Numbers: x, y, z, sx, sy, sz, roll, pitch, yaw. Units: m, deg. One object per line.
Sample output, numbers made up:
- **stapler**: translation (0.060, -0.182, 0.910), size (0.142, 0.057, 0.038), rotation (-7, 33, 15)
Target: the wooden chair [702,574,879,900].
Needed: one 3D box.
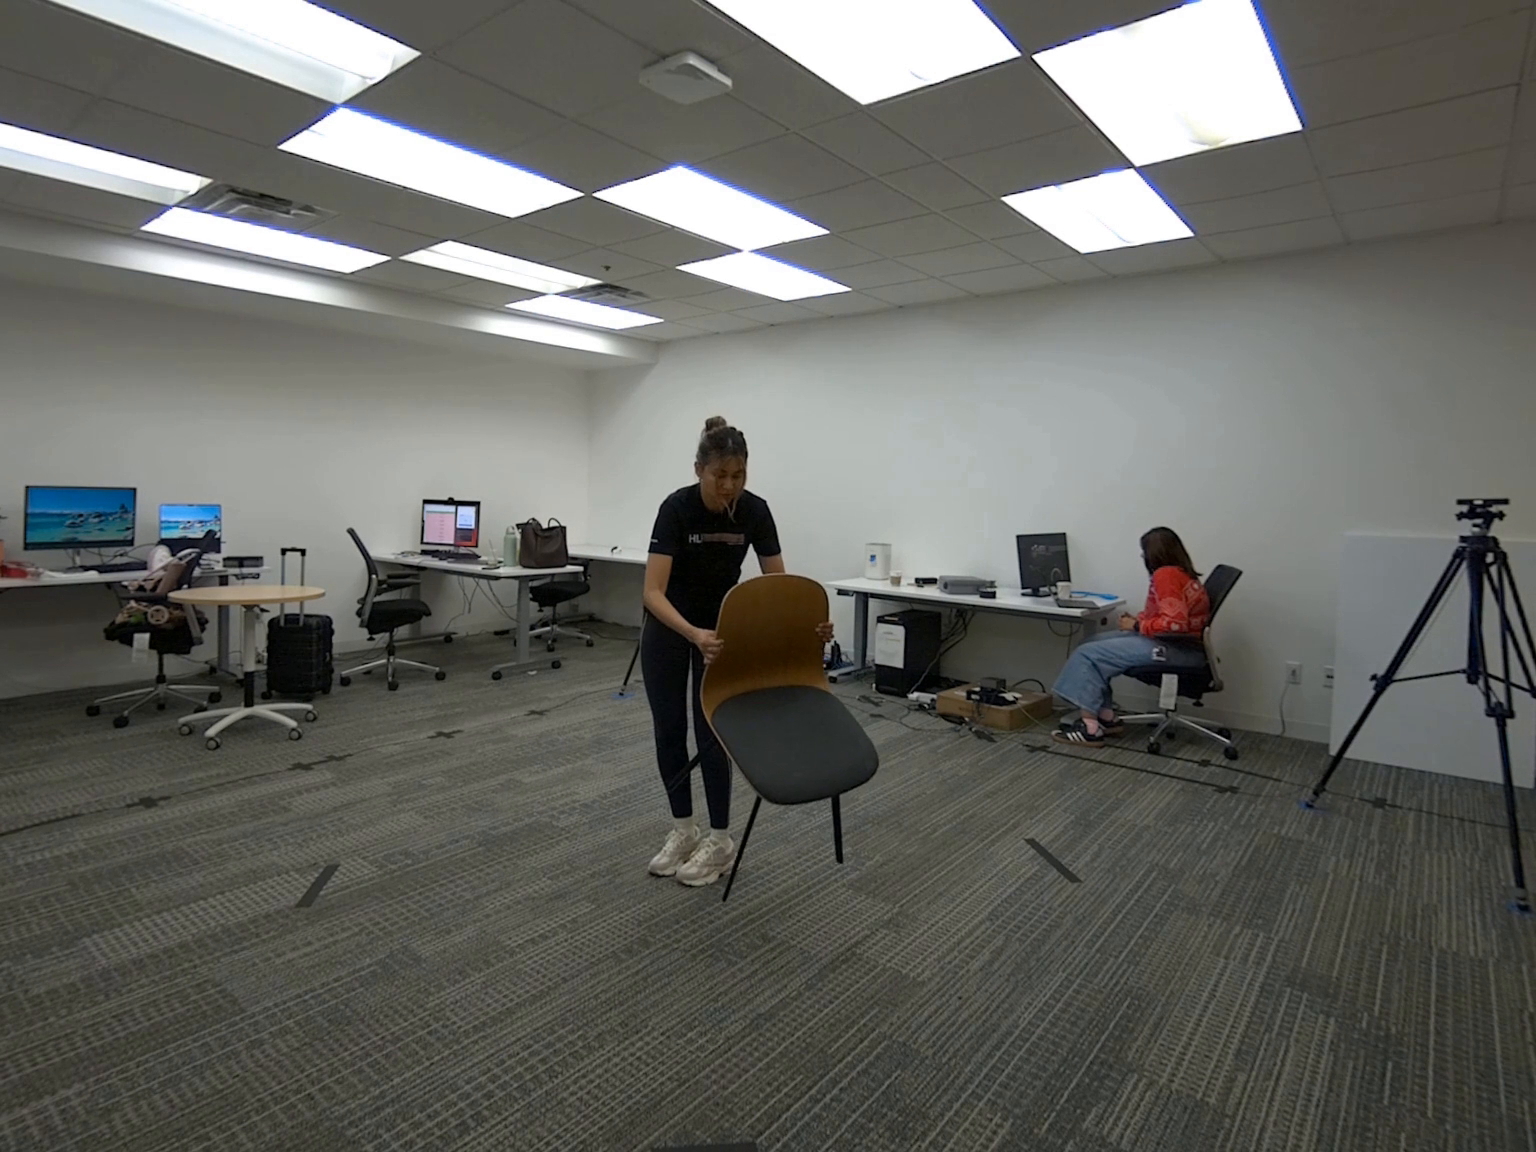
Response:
- **wooden chair**: translation (0.040, 0.497, 2.642), size (0.466, 0.861, 0.546), rotation (-5, 32, -30)
